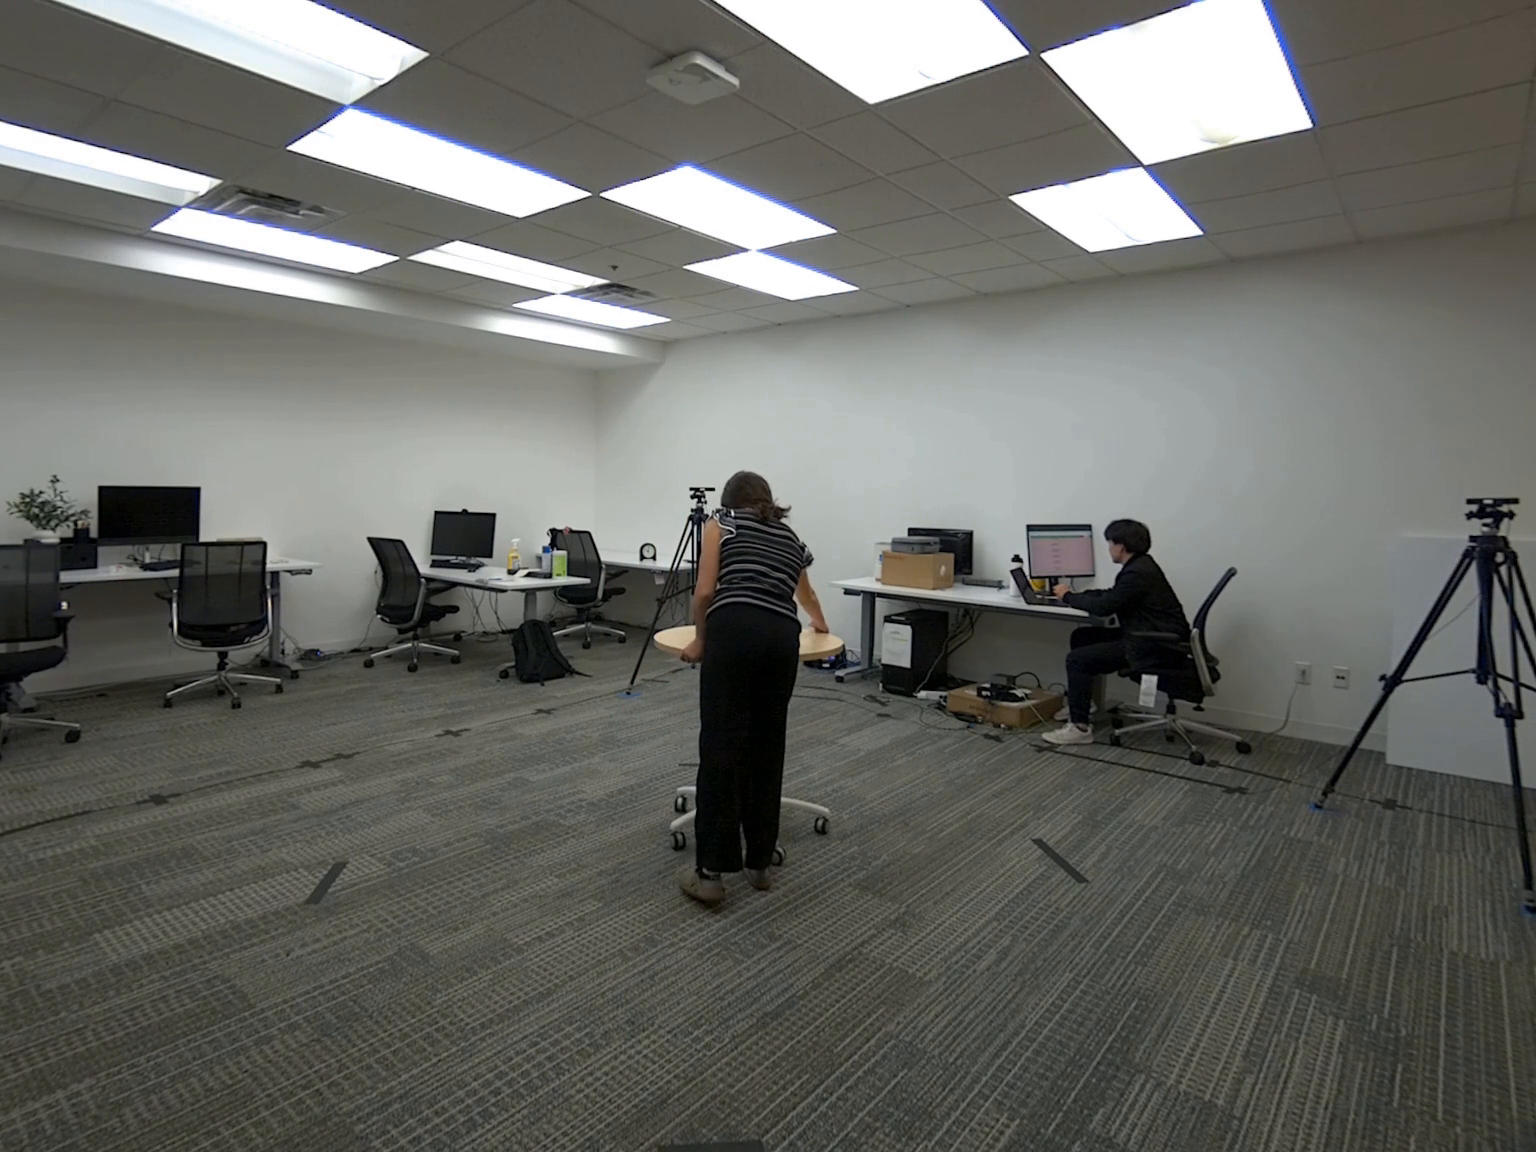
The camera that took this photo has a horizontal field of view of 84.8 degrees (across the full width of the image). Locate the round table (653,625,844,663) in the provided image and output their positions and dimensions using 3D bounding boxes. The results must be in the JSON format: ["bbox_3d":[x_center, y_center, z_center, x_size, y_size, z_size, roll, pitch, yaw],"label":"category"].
[{"bbox_3d":[-0.096,0.640,3.465,0.763,0.792,0.767,1,4,-2],"label":"round table"}]
